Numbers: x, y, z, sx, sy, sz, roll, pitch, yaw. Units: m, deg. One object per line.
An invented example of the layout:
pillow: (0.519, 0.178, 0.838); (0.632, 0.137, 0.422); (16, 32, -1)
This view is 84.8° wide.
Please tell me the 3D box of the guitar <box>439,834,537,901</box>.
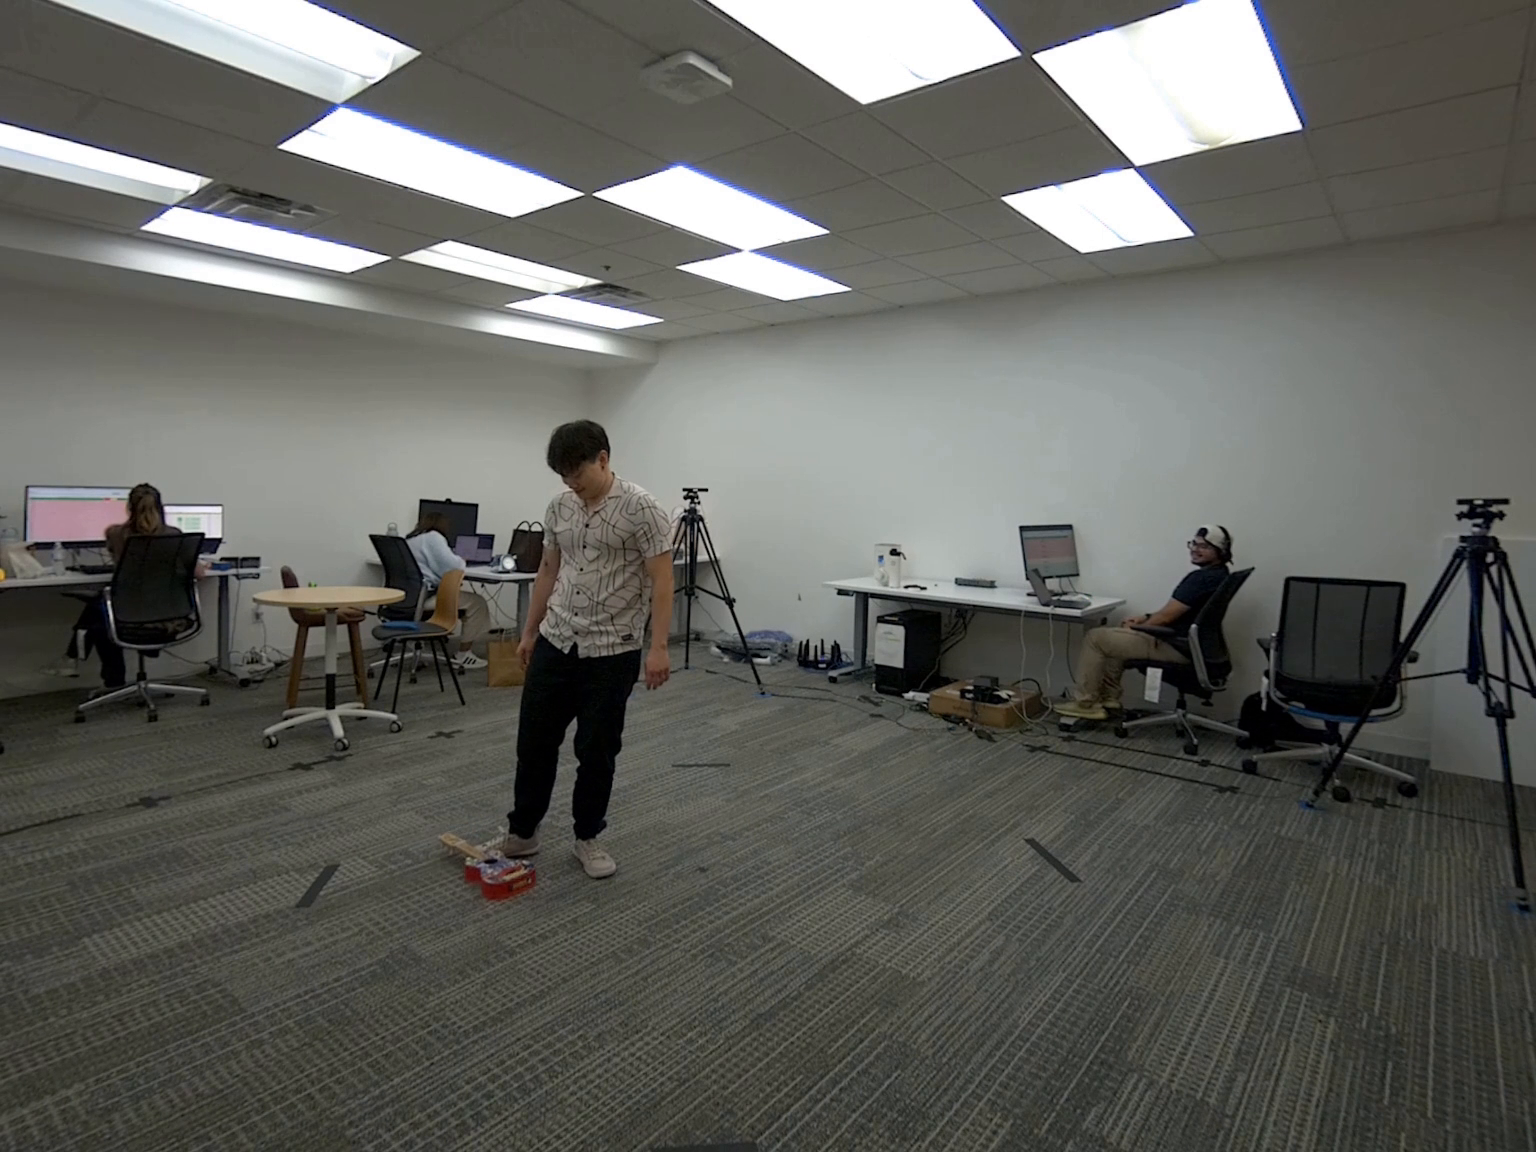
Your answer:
guitar: (-1.032, 1.025, 3.072); (0.187, 0.070, 0.515); (-3, 8, -40)
